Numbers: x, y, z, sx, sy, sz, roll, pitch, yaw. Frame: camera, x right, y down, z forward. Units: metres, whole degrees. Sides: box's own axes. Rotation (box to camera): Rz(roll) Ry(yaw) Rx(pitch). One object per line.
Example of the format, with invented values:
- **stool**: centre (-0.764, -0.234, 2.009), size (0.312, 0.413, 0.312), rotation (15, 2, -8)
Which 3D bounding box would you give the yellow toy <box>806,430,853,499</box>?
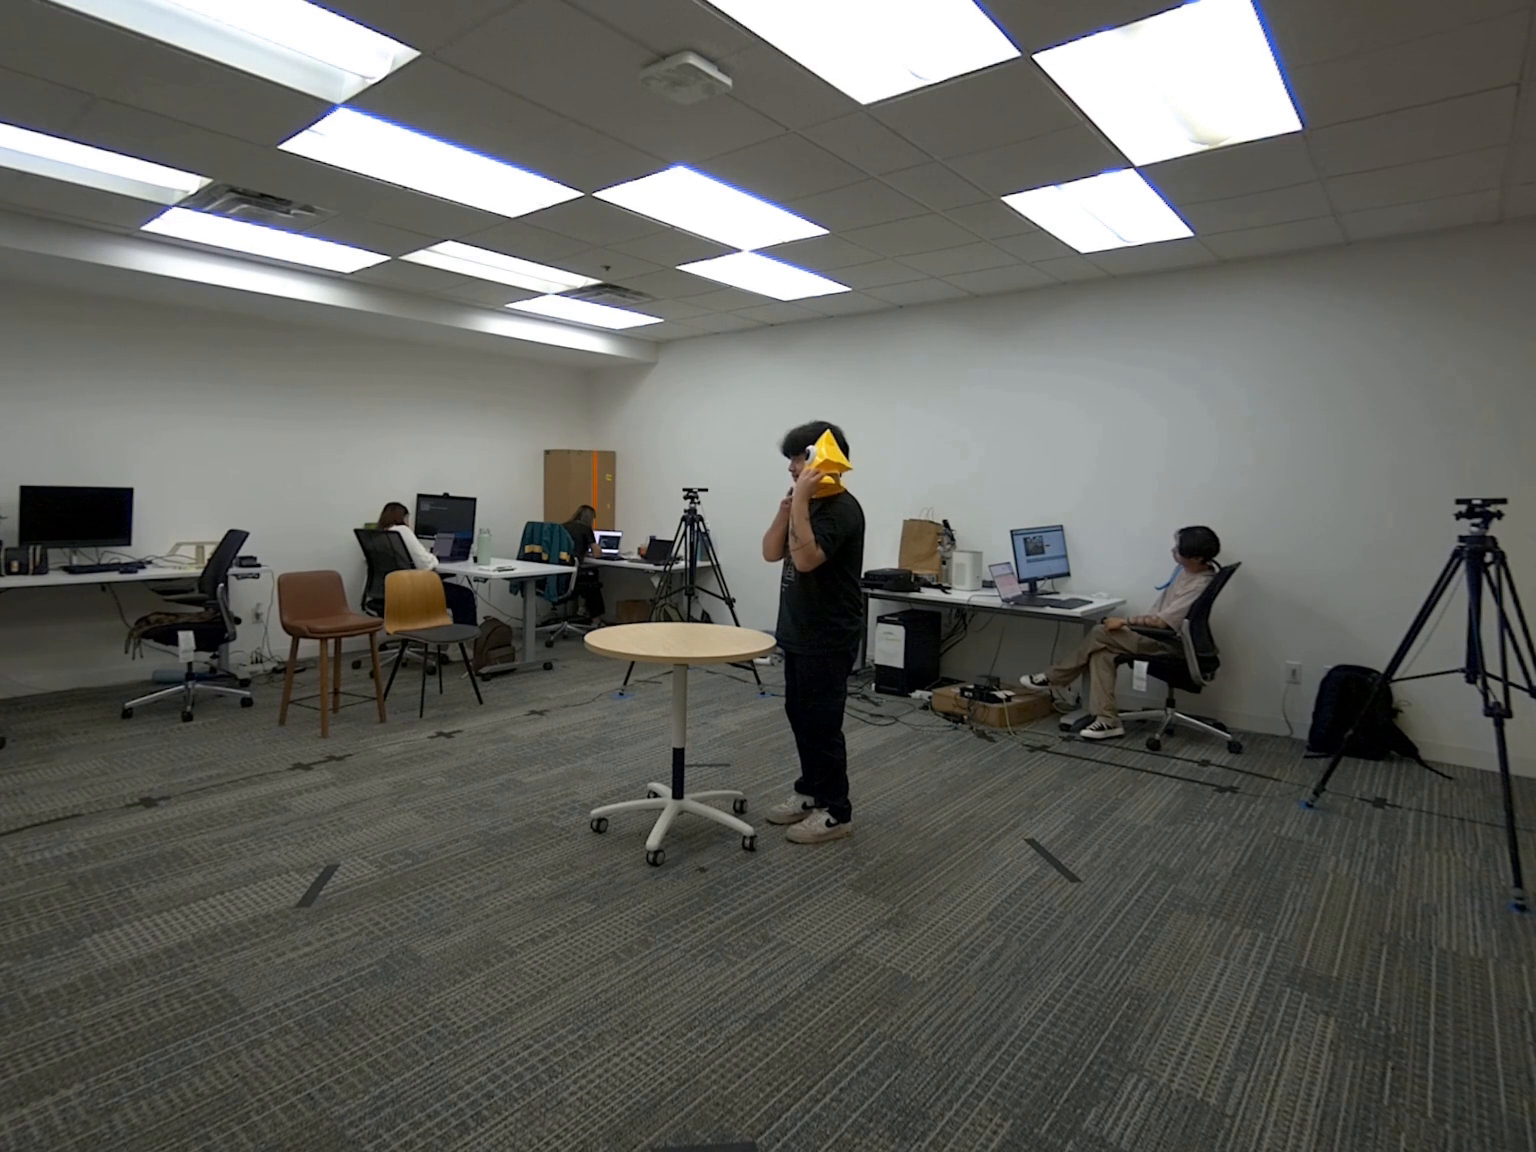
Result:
- **yellow toy**: centre (0.192, -0.452, 3.317), size (0.197, 0.234, 0.197), rotation (-14, -15, 34)
